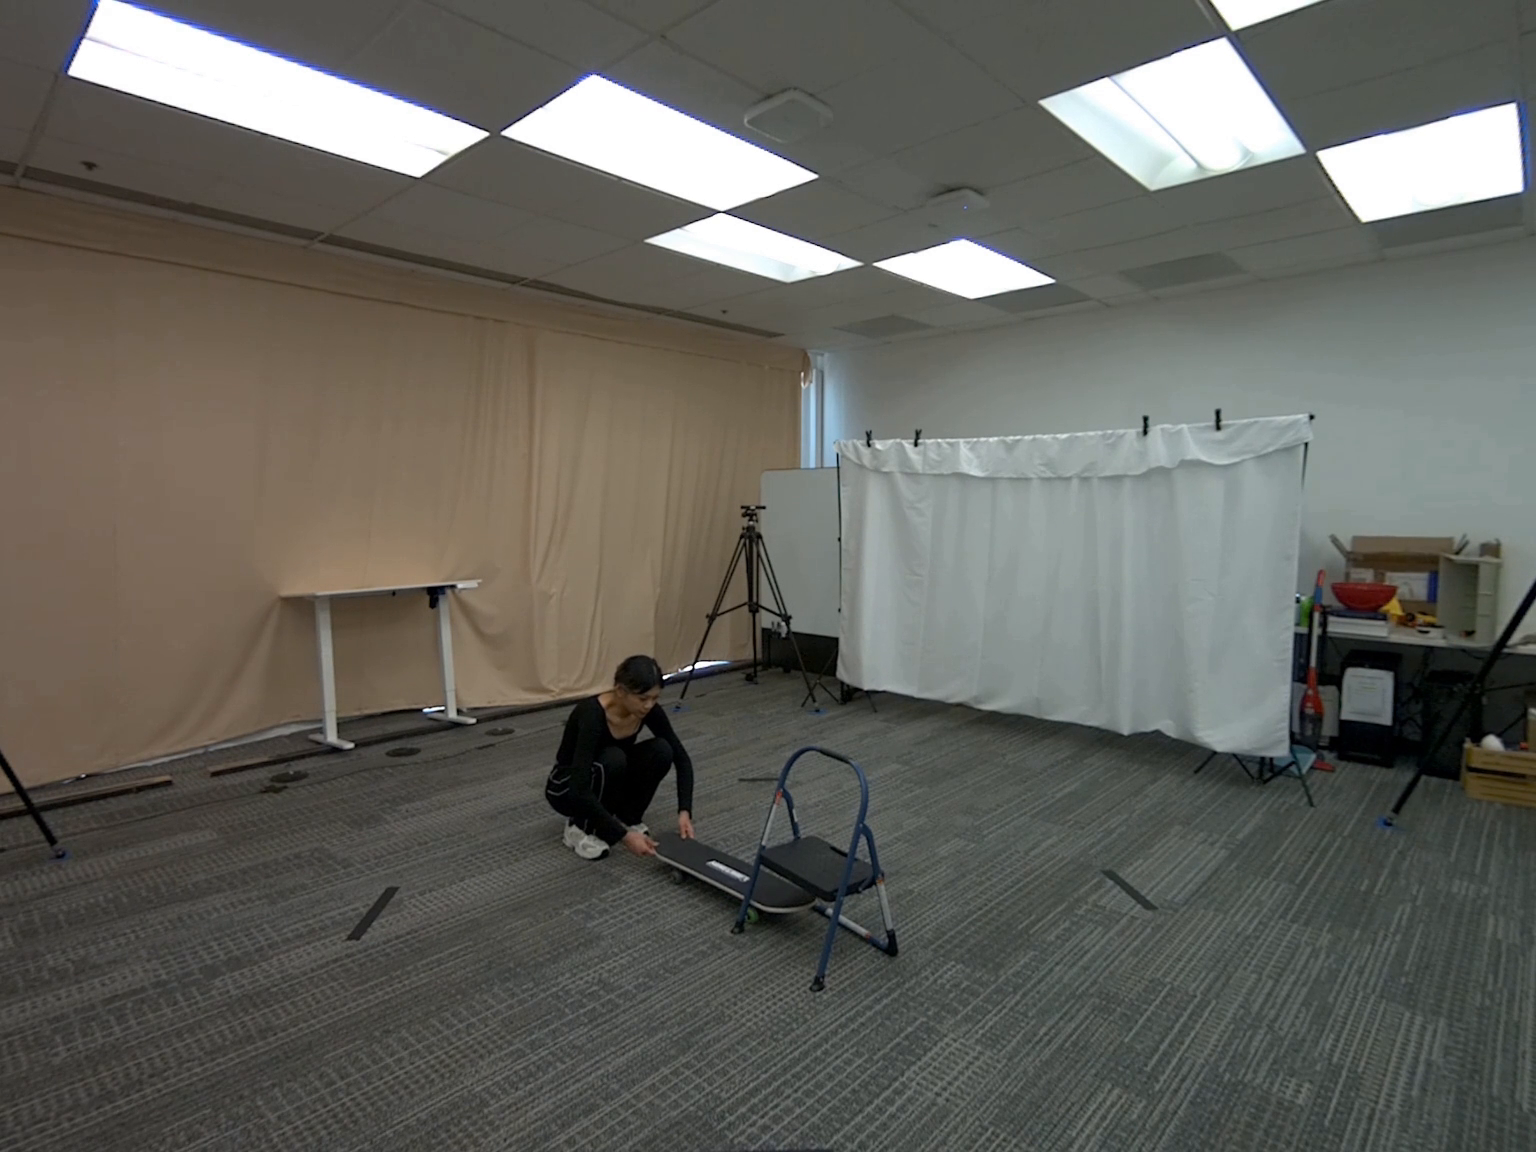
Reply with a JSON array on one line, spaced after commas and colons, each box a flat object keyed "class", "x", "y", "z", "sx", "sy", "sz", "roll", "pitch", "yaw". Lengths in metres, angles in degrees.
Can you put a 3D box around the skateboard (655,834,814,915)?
[{"class": "skateboard", "x": -0.133, "y": 1.082, "z": 3.007, "sx": 0.187, "sy": 0.110, "sz": 0.812, "roll": -3, "pitch": 5, "yaw": -43}]
